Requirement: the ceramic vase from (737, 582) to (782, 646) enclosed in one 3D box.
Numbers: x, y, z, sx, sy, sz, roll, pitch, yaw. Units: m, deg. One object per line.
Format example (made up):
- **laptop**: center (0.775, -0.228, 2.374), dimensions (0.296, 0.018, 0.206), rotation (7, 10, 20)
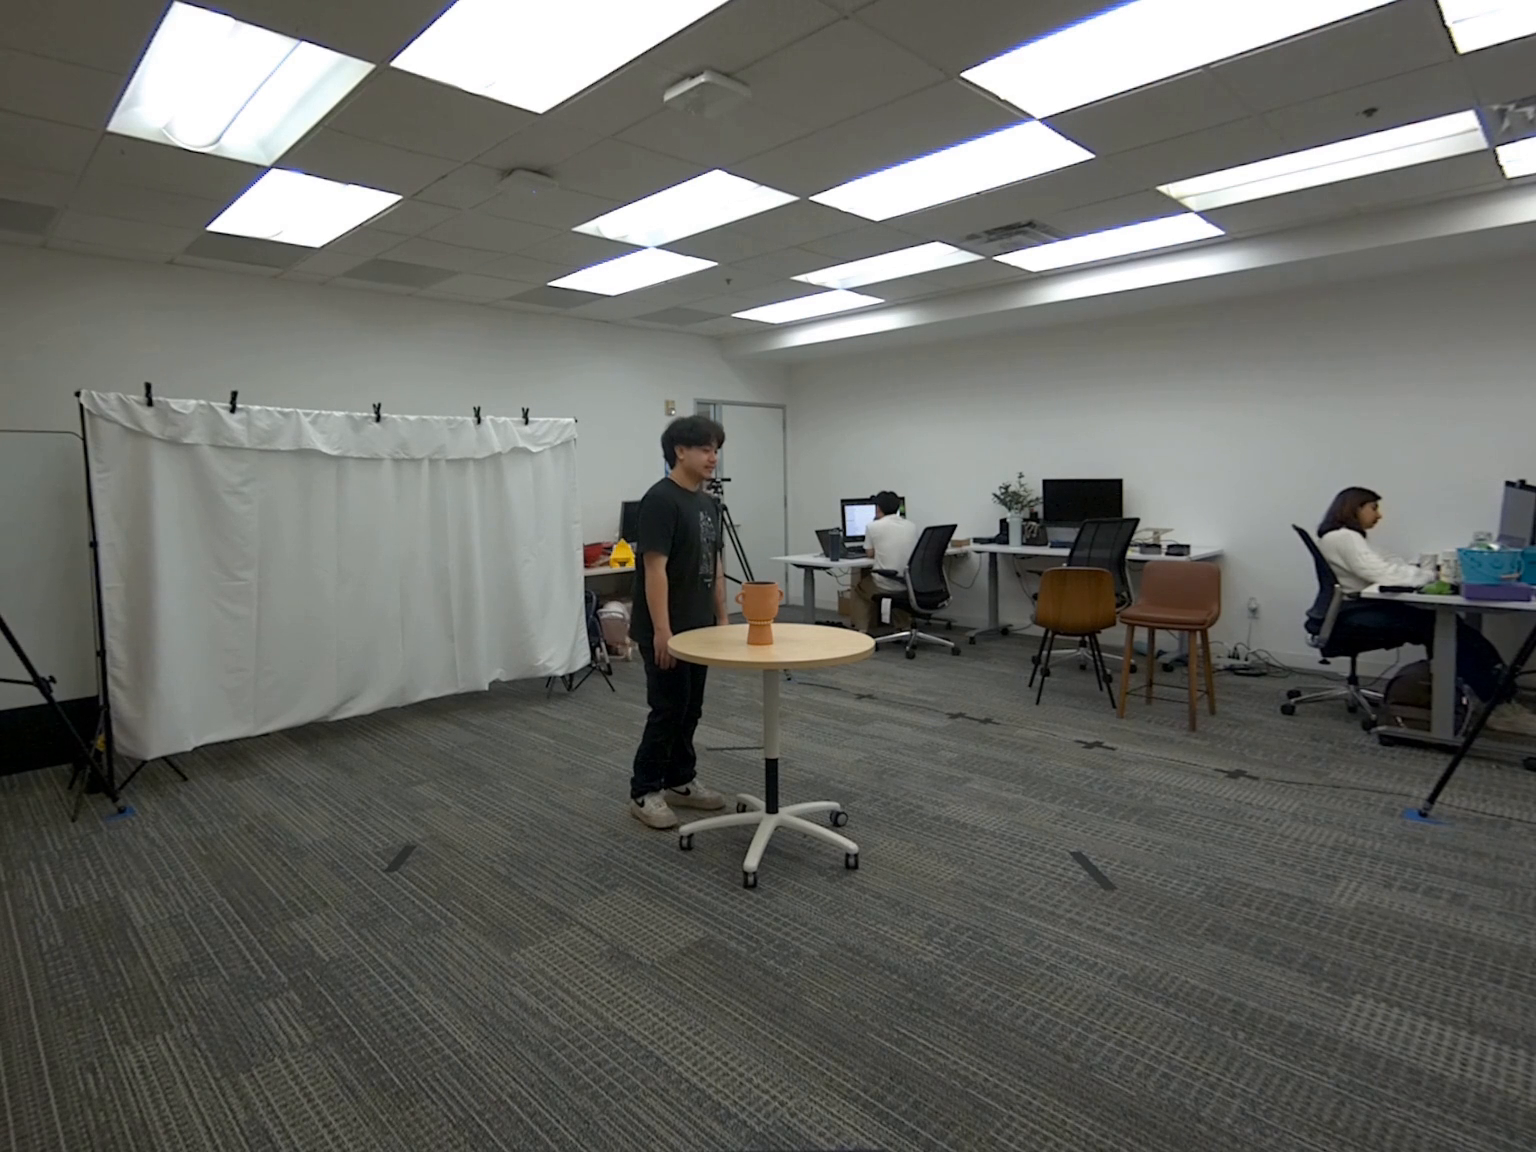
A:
- **ceramic vase**: center (-0.027, 0.137, 3.122), dimensions (0.132, 0.219, 0.163), rotation (-2, 3, -26)
